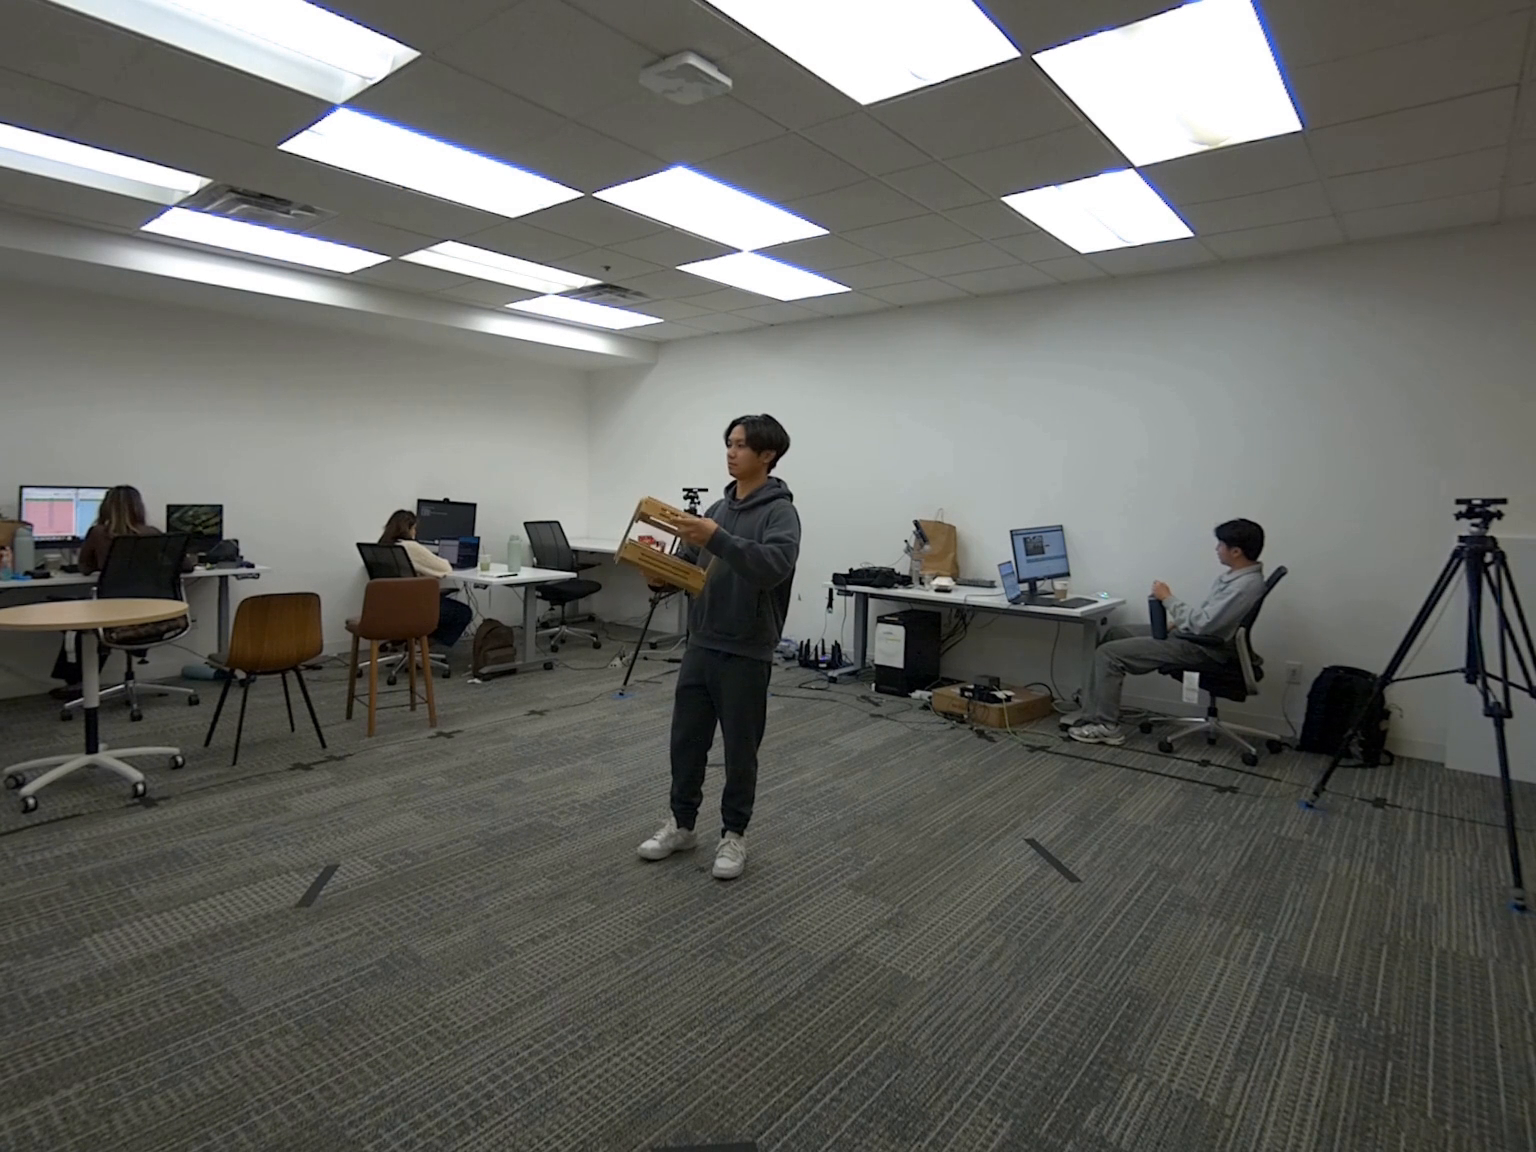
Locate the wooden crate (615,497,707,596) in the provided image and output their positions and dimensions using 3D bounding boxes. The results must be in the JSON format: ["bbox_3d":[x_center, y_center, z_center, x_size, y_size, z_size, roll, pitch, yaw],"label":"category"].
[{"bbox_3d":[-0.352,-0.097,2.922,0.322,0.273,0.305,23,4,-7],"label":"wooden crate"}]
